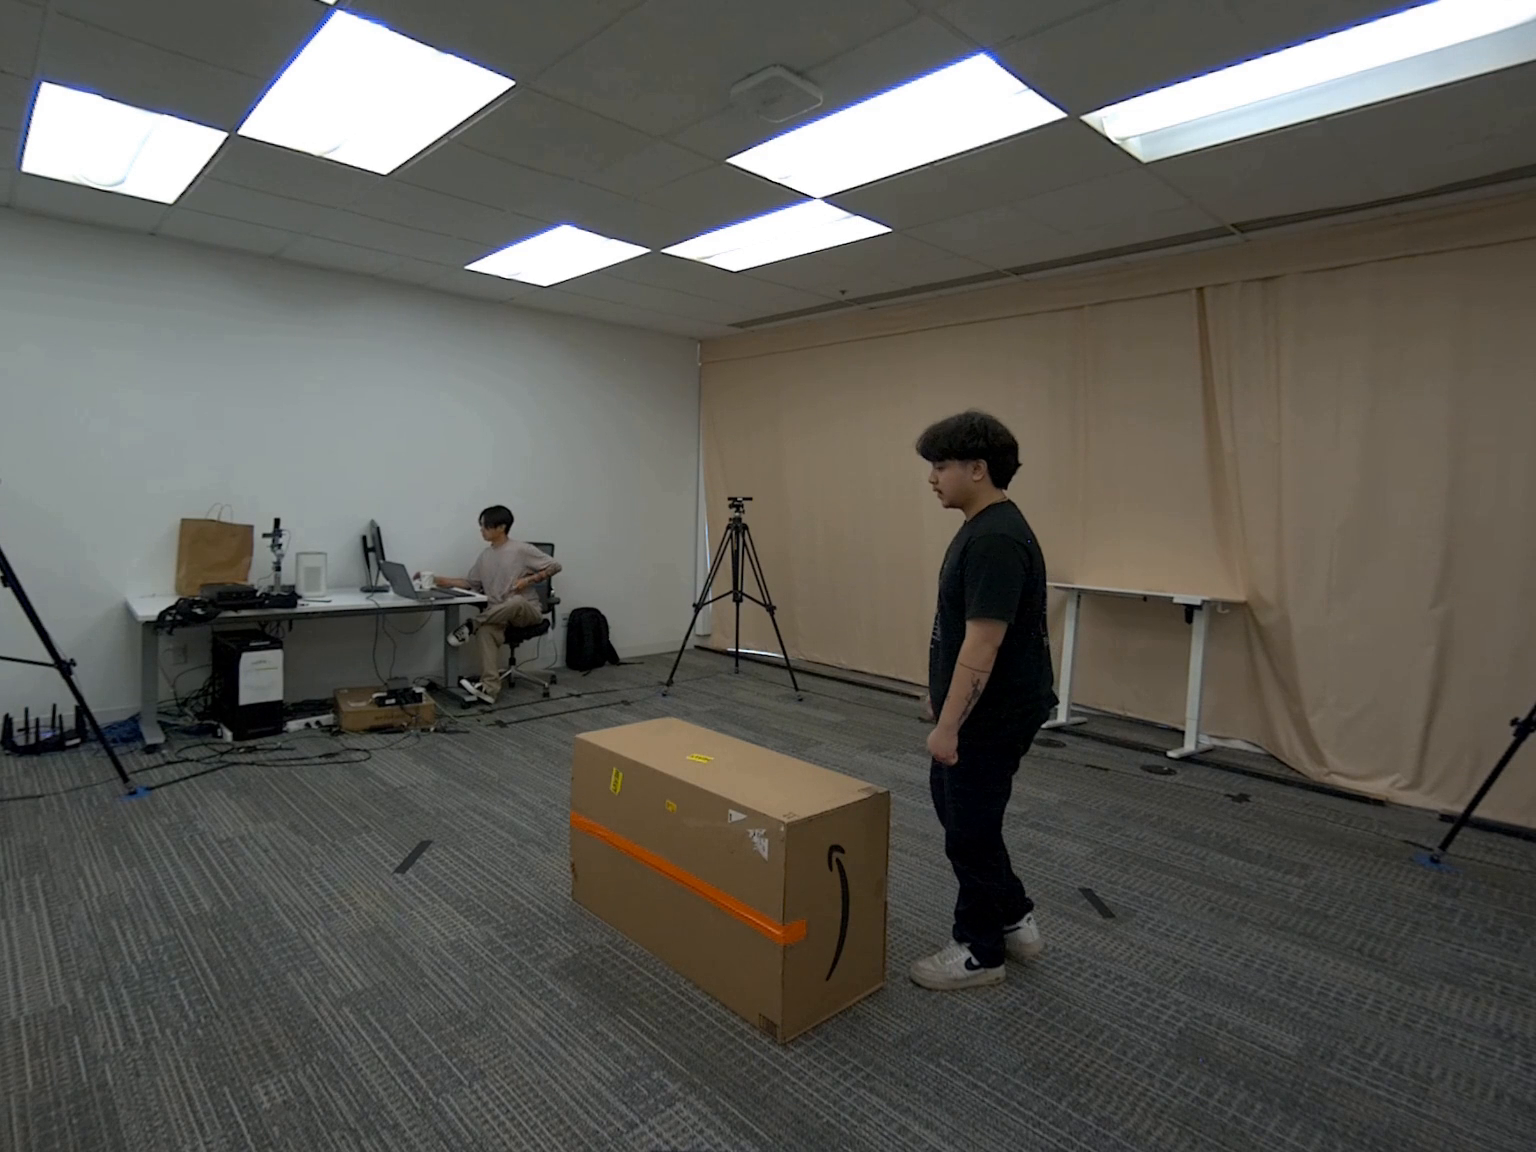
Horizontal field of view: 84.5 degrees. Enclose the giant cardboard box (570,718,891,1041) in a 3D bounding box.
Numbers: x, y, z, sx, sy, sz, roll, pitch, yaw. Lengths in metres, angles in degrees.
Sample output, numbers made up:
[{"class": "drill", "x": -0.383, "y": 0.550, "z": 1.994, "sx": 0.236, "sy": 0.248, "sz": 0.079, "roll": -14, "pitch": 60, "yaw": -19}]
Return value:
[{"class": "giant cardboard box", "x": -0.174, "y": 0.865, "z": 2.646, "sx": 0.437, "sy": 0.582, "sz": 1.053, "roll": -3, "pitch": 6, "yaw": -43}]
